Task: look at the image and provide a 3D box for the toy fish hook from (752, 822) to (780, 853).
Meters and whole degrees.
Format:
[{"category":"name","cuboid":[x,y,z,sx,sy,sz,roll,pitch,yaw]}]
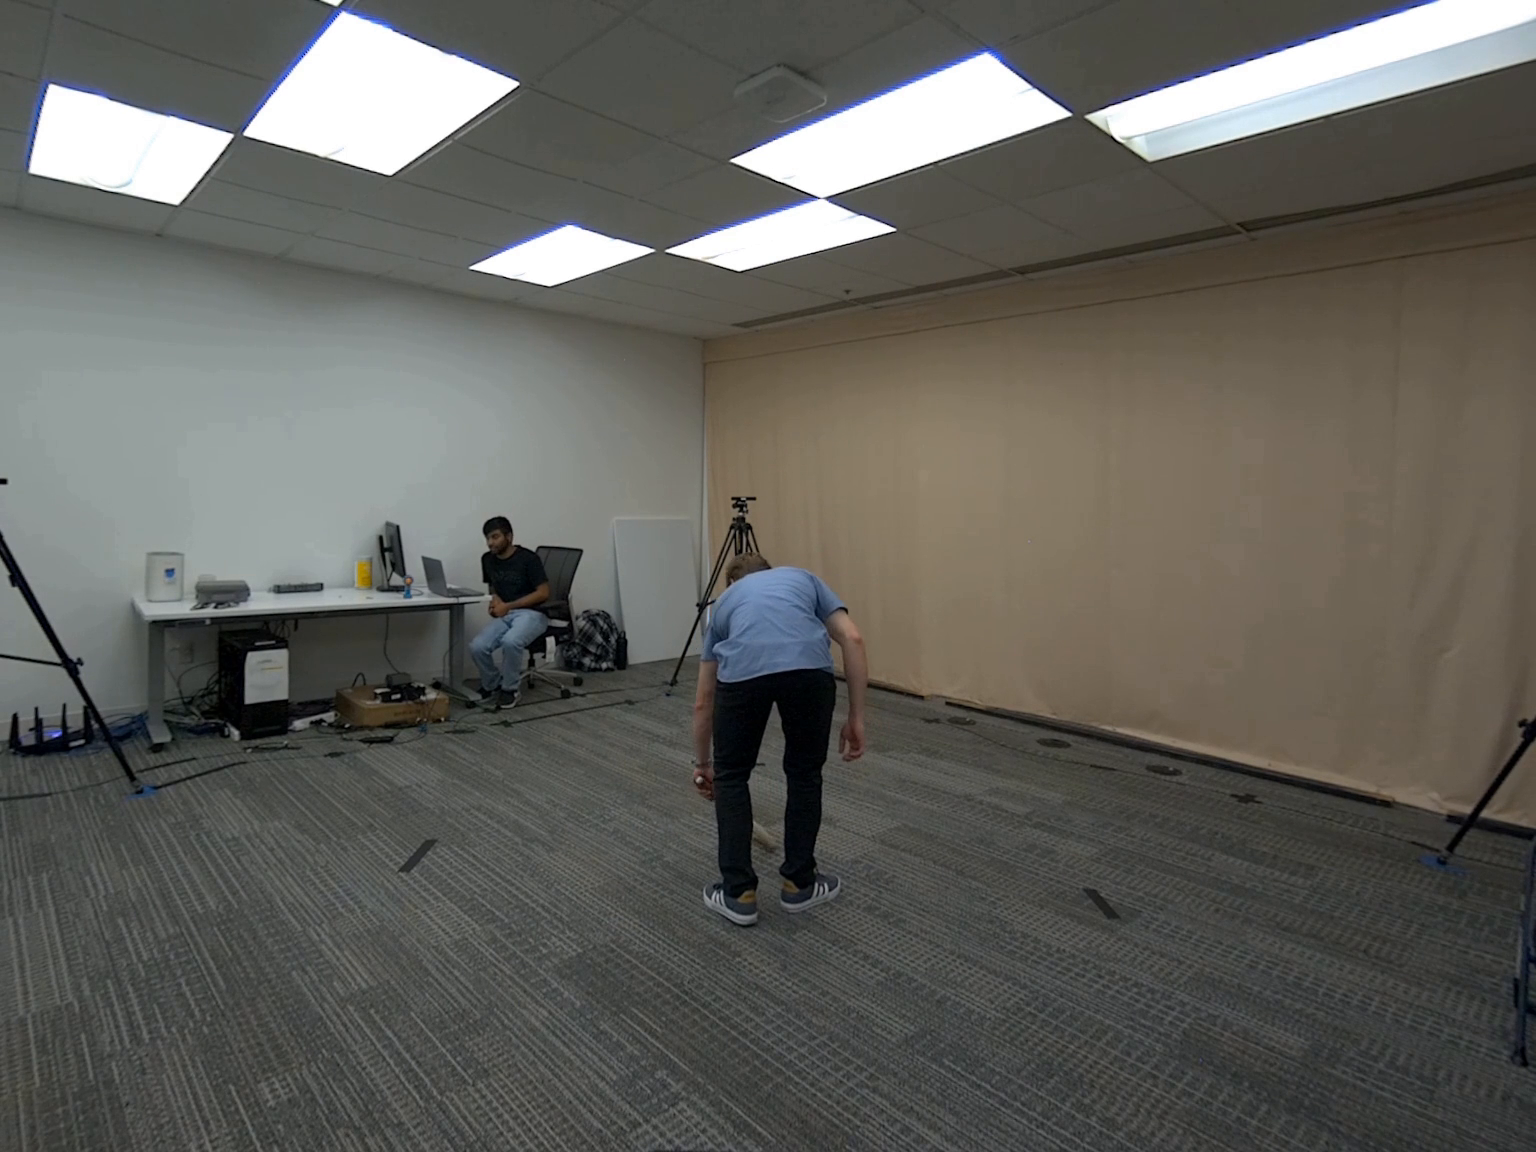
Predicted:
[{"category":"toy fish hook","cuboid":[-0.162,0.918,3.299,0.230,0.048,0.493,3,-40,53]}]
